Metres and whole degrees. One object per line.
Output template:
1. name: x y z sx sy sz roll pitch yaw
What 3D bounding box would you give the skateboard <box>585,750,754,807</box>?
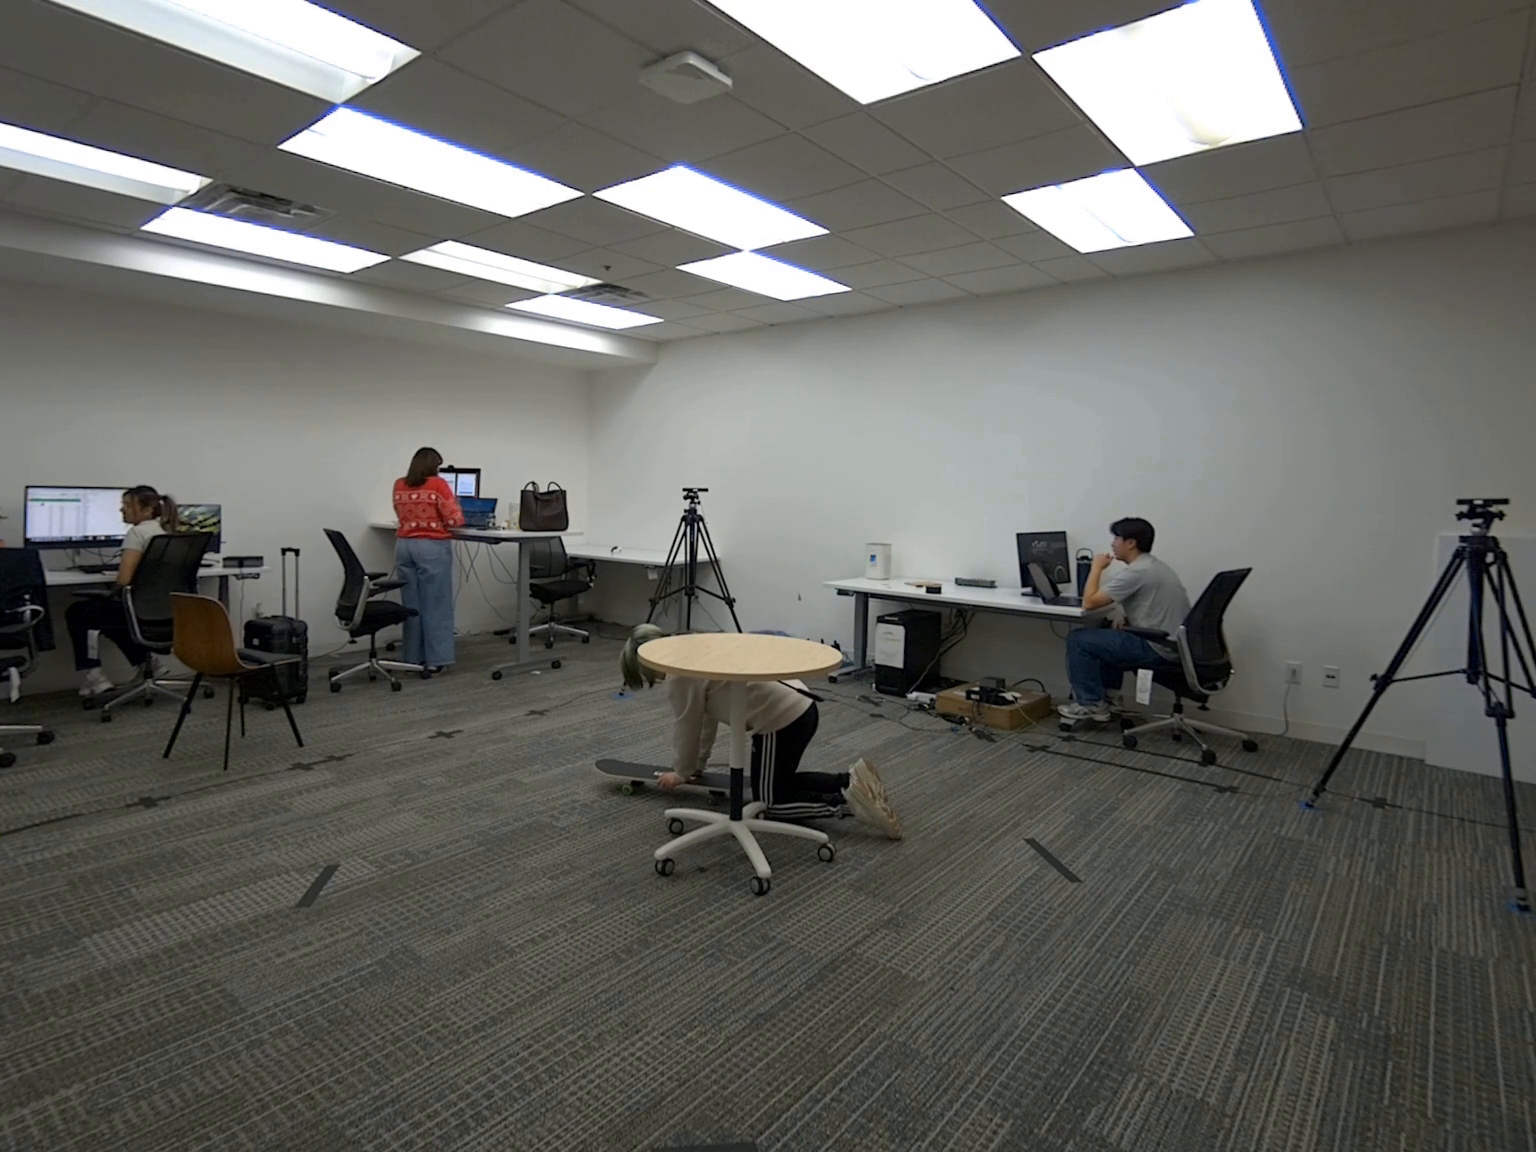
1. skateboard: -0.442 0.924 3.876 0.800 0.110 0.191 2 5 17
